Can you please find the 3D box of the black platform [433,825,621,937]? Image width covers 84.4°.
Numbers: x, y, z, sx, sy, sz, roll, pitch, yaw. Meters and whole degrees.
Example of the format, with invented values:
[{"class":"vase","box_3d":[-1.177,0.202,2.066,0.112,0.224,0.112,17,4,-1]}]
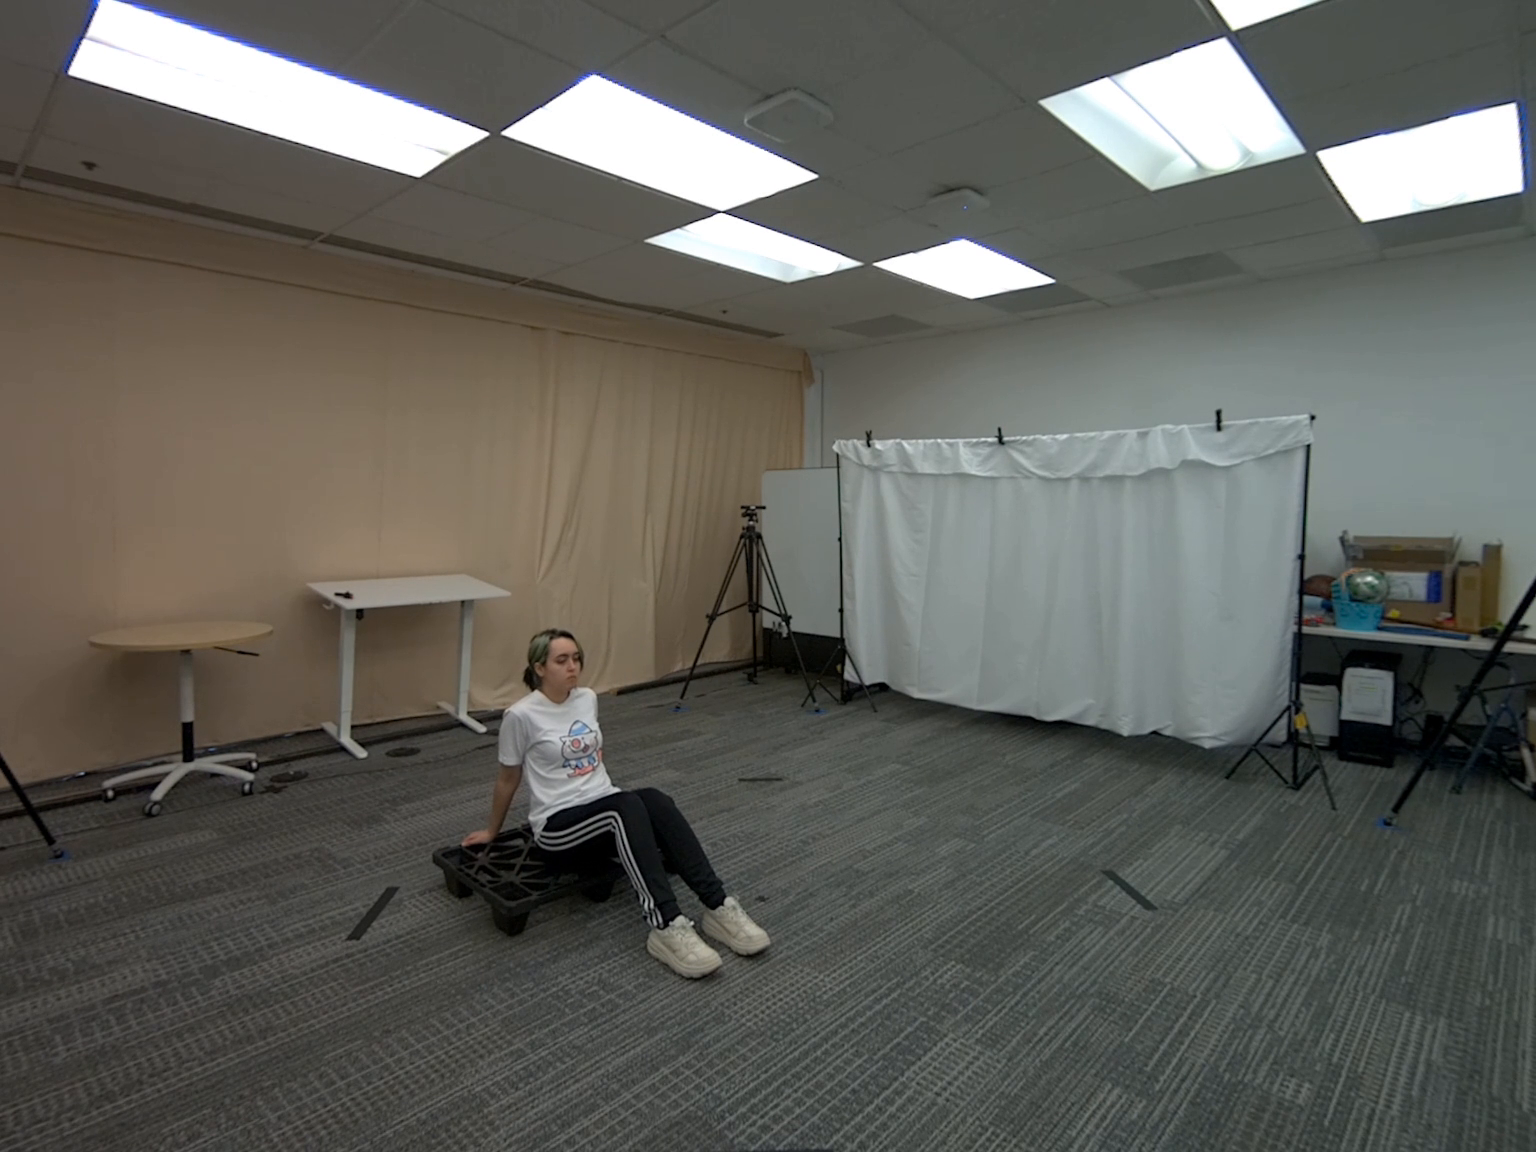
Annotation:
[{"class":"black platform","box_3d":[-0.745,1.071,3.144,0.781,0.143,0.625,-5,7,-42]}]
